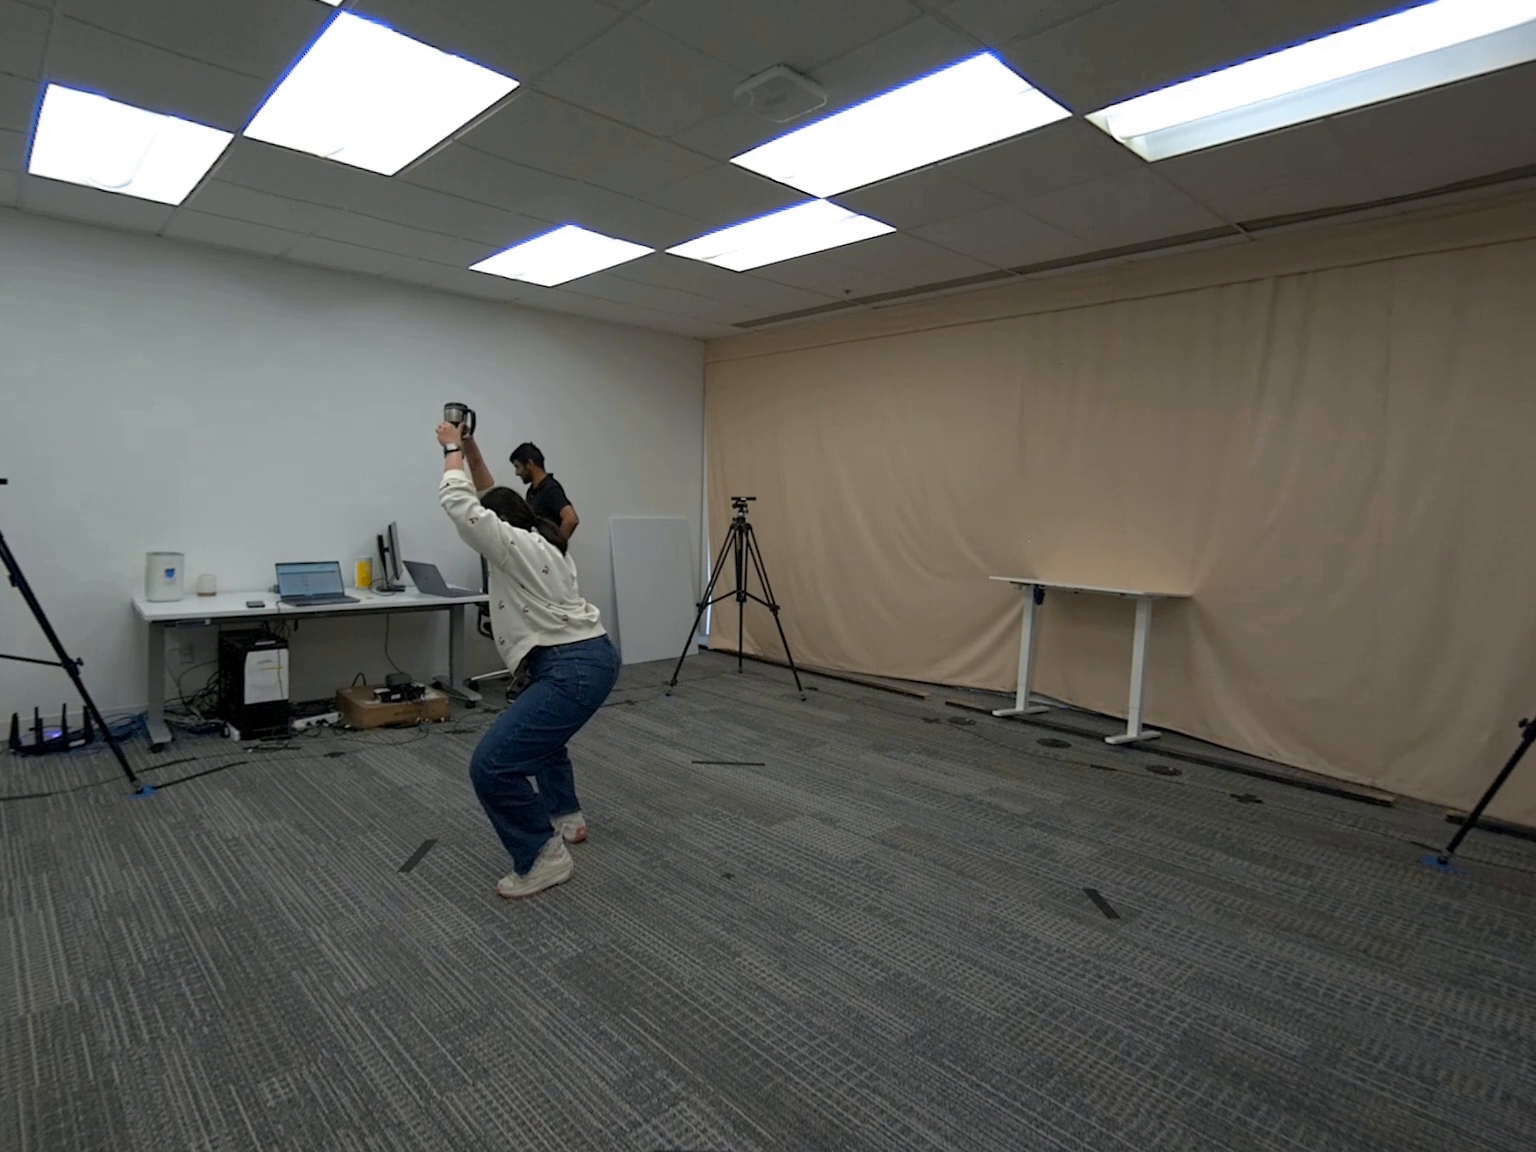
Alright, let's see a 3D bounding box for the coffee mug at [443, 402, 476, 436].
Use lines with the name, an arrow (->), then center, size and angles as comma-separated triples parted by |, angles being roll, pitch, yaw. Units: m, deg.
coffee mug -> -1.198, -0.540, 3.147 | 0.121, 0.204, 0.088 | 7, -8, -12
